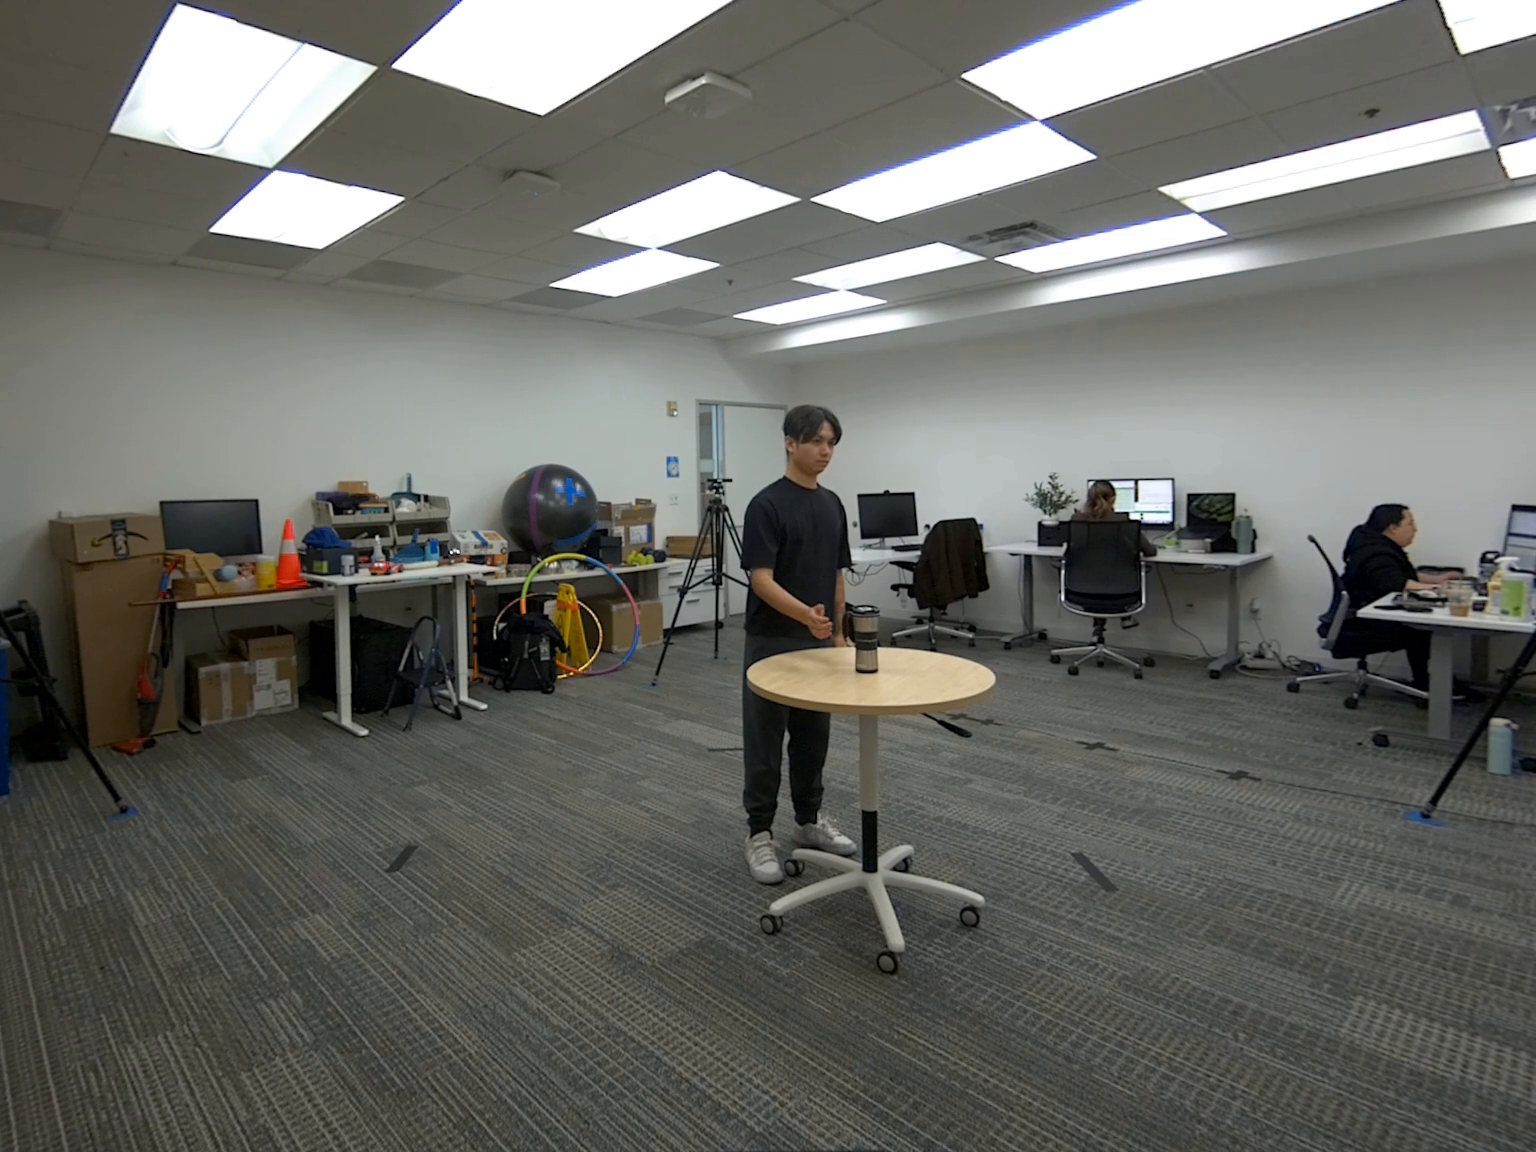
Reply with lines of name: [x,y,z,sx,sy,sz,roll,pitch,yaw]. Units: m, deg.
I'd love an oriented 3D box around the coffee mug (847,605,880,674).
coffee mug: [0.298,0.202,2.717,0.086,0.201,0.125,-9,10,-30]
